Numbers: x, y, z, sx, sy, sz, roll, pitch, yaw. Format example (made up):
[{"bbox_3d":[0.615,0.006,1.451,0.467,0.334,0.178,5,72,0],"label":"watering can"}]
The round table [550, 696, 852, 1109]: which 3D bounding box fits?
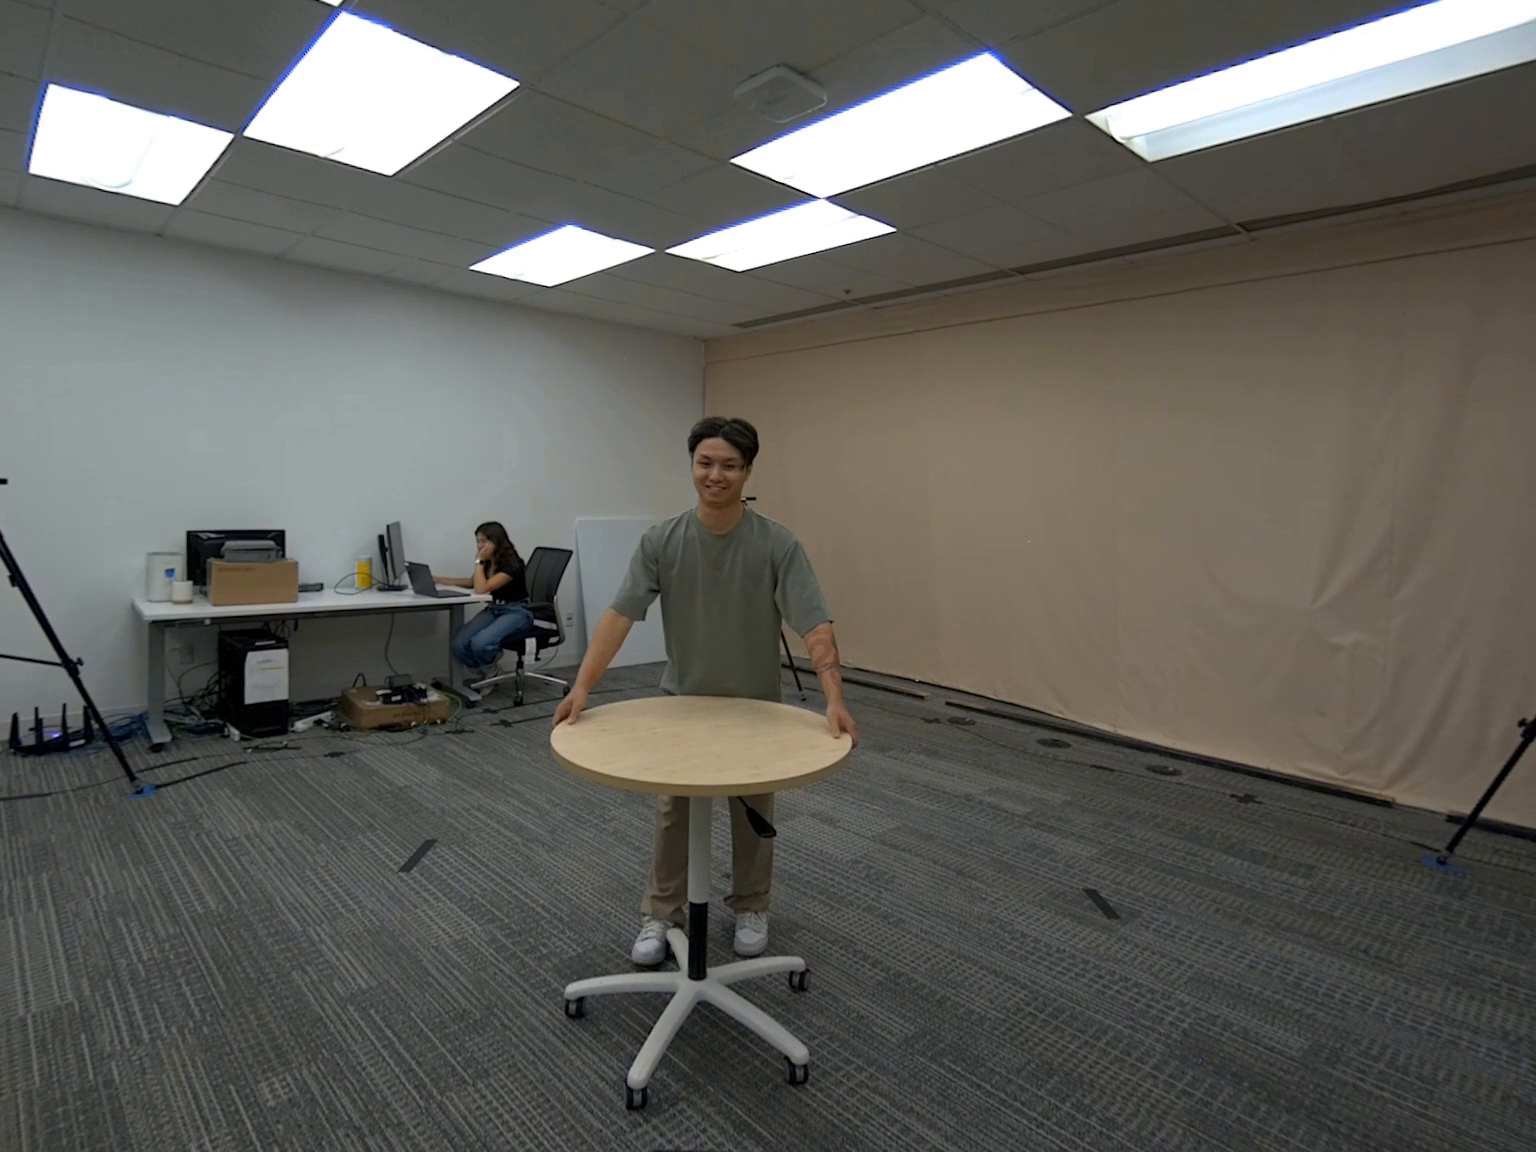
[{"bbox_3d":[-0.197,0.794,2.197,0.784,0.784,0.788,2,5,-2],"label":"round table"}]
